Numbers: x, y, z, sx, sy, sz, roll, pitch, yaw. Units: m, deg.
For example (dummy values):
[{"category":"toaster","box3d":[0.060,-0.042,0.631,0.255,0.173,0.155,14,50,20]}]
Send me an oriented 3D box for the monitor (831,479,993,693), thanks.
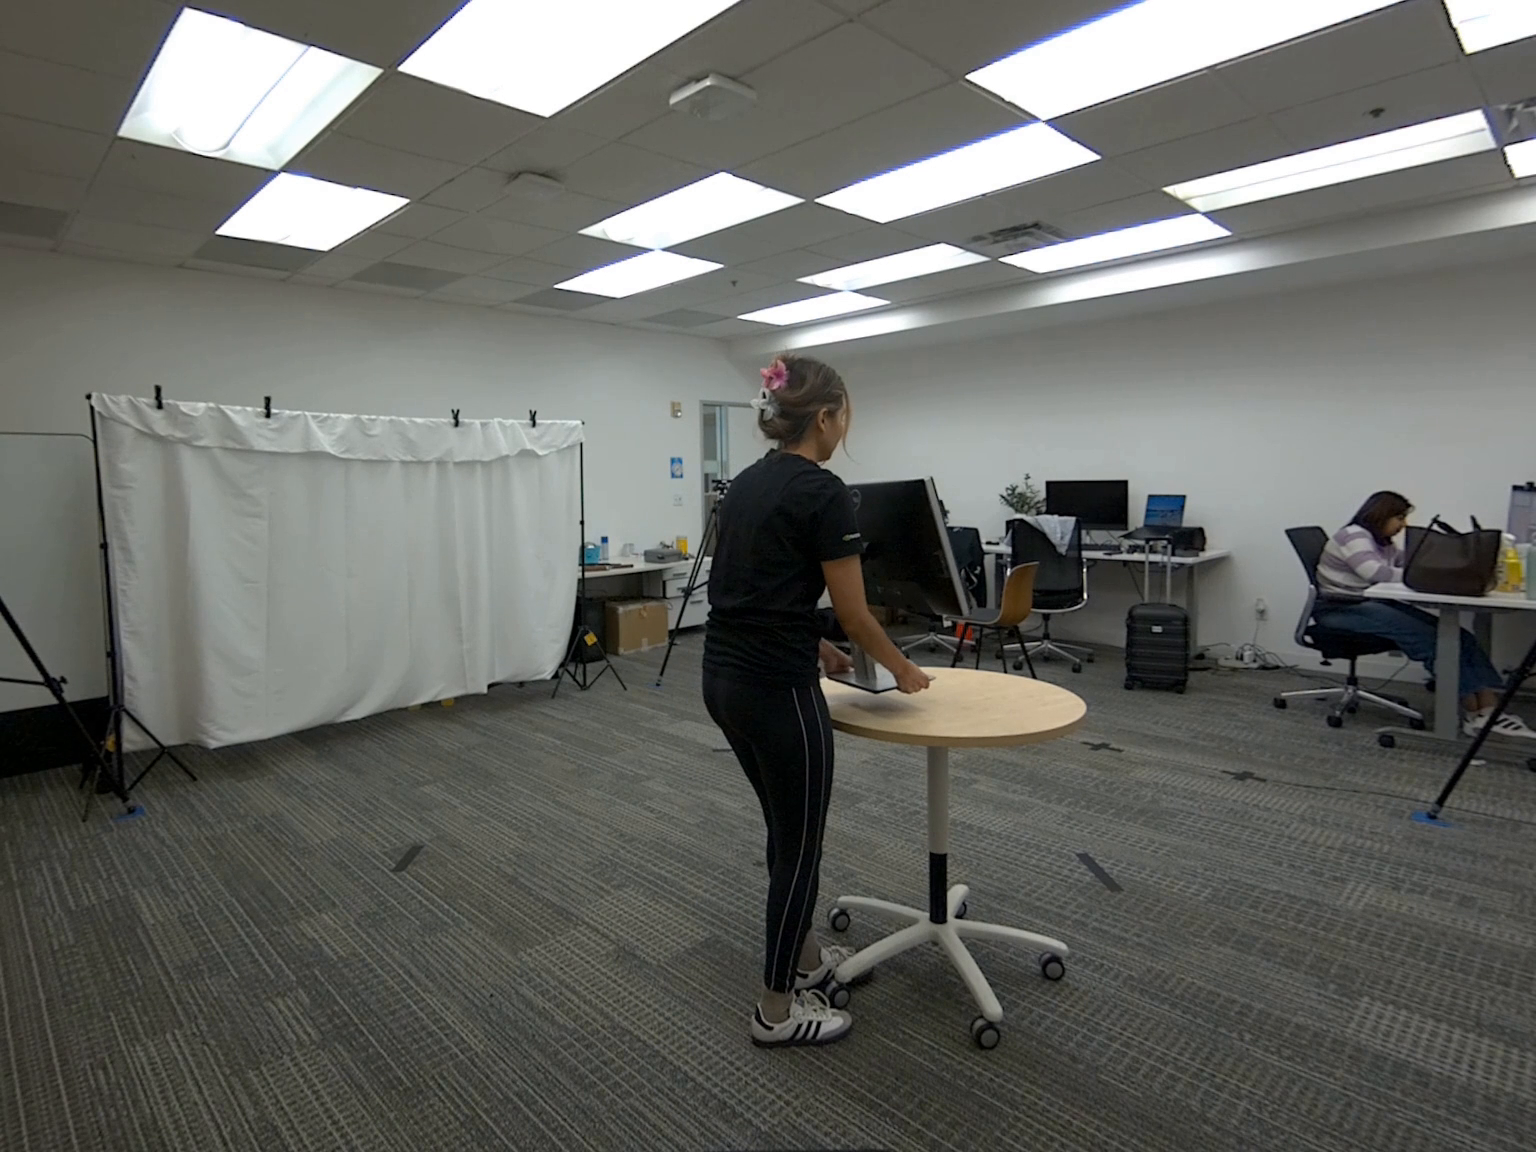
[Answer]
[{"category":"monitor","box3d":[0.287,0.008,2.308,0.183,0.520,0.553,-10,6,-29]}]
